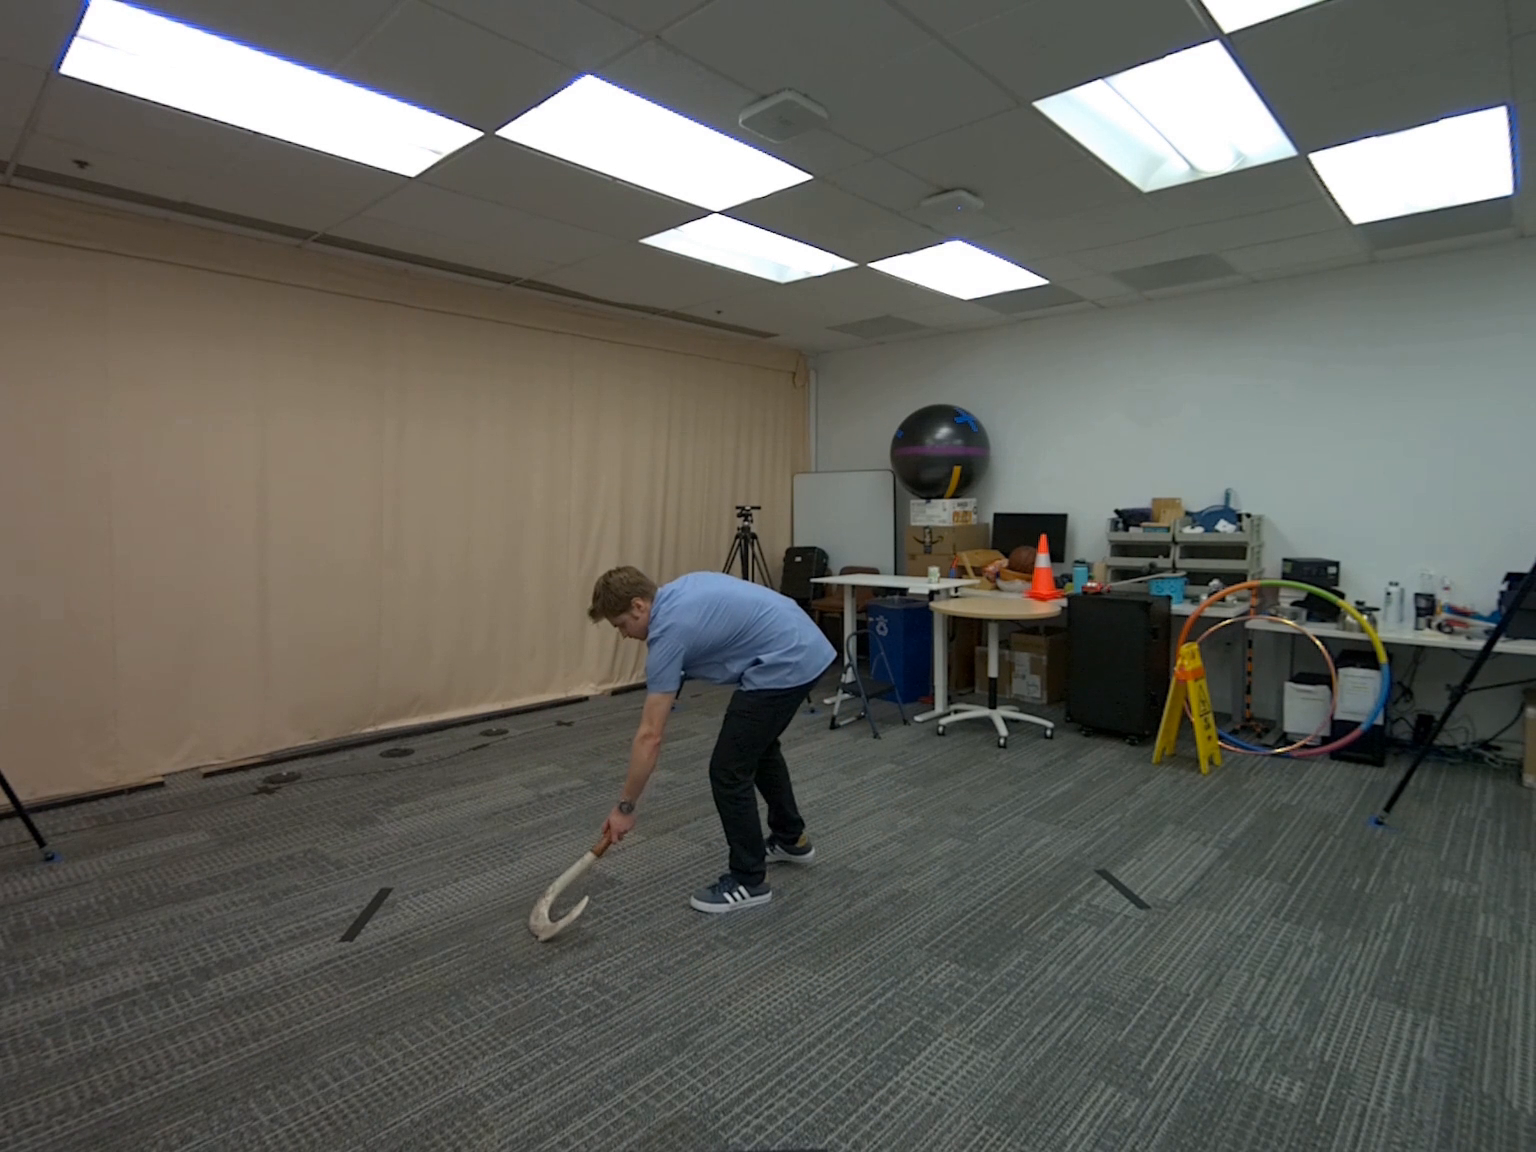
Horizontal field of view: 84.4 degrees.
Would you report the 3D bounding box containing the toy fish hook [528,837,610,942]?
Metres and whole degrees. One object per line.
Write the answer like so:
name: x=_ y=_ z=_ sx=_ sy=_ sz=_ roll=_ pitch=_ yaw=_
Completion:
toy fish hook: x=-0.595 y=1.000 z=2.826 sx=0.504 sy=0.047 sz=0.232 roll=-48 pitch=30 yaw=-21
